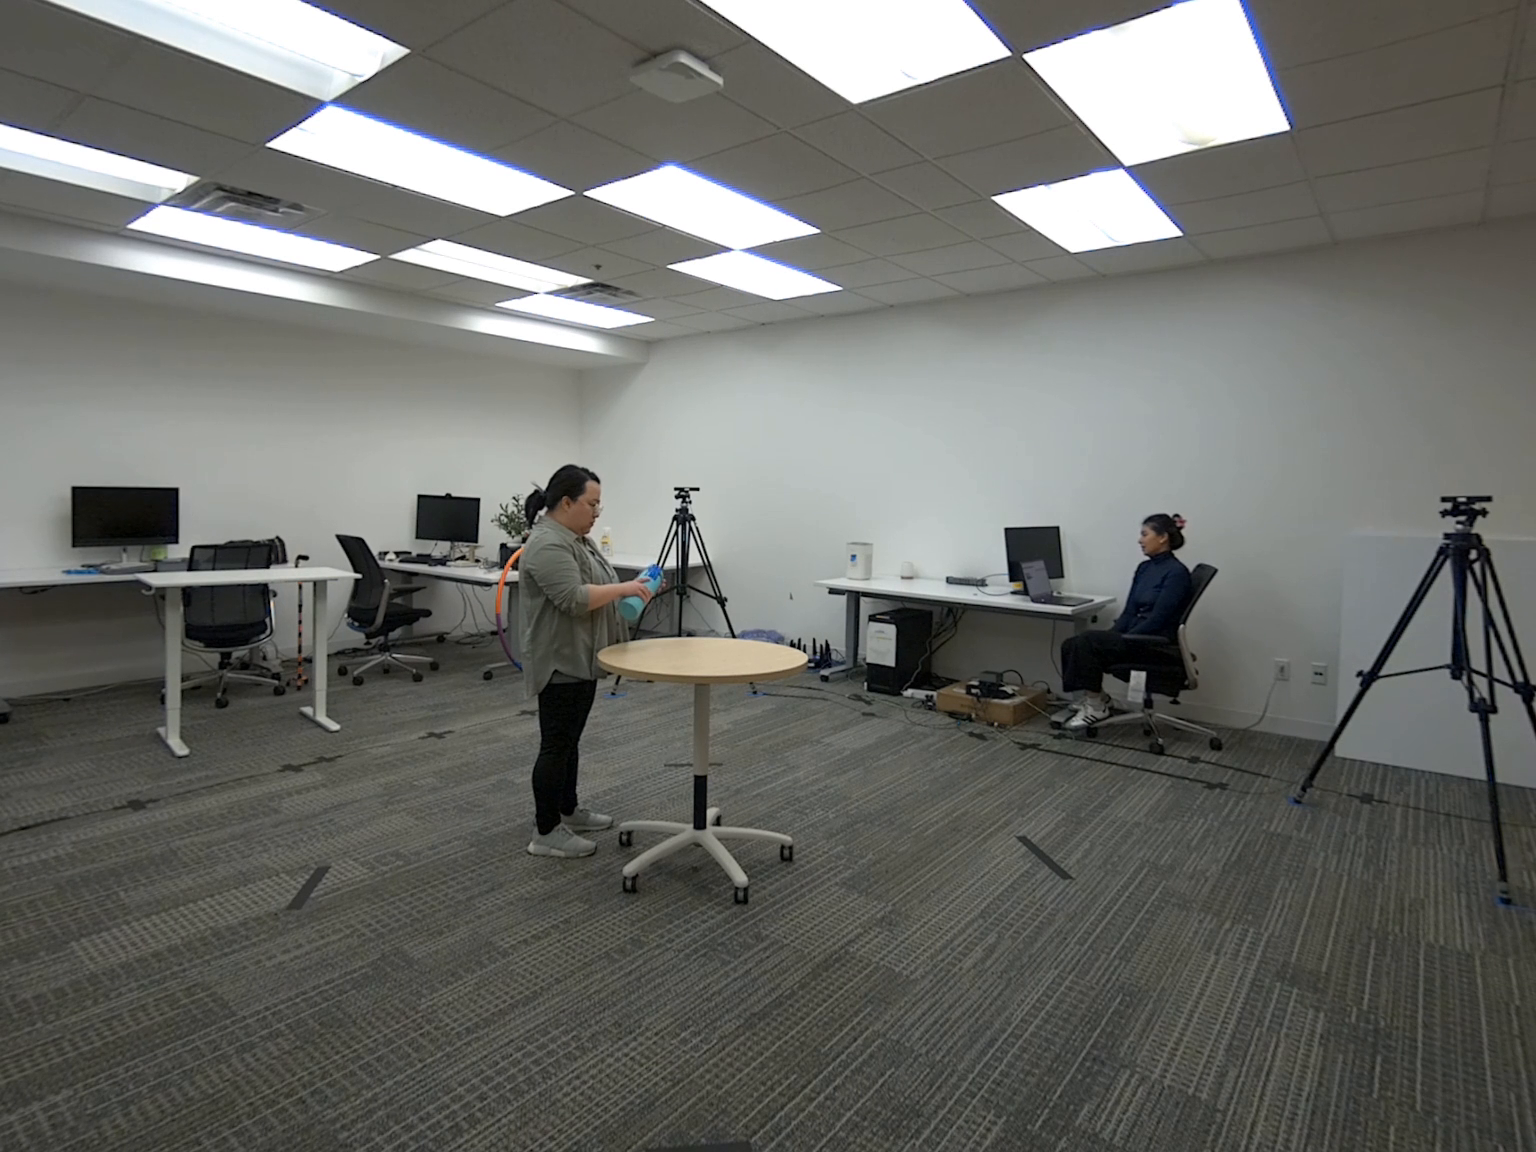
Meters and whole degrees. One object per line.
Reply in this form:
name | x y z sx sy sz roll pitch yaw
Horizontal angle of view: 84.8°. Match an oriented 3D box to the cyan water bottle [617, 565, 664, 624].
cyan water bottle | -0.507 0.053 3.327 0.094 0.089 0.285 2 37 24
